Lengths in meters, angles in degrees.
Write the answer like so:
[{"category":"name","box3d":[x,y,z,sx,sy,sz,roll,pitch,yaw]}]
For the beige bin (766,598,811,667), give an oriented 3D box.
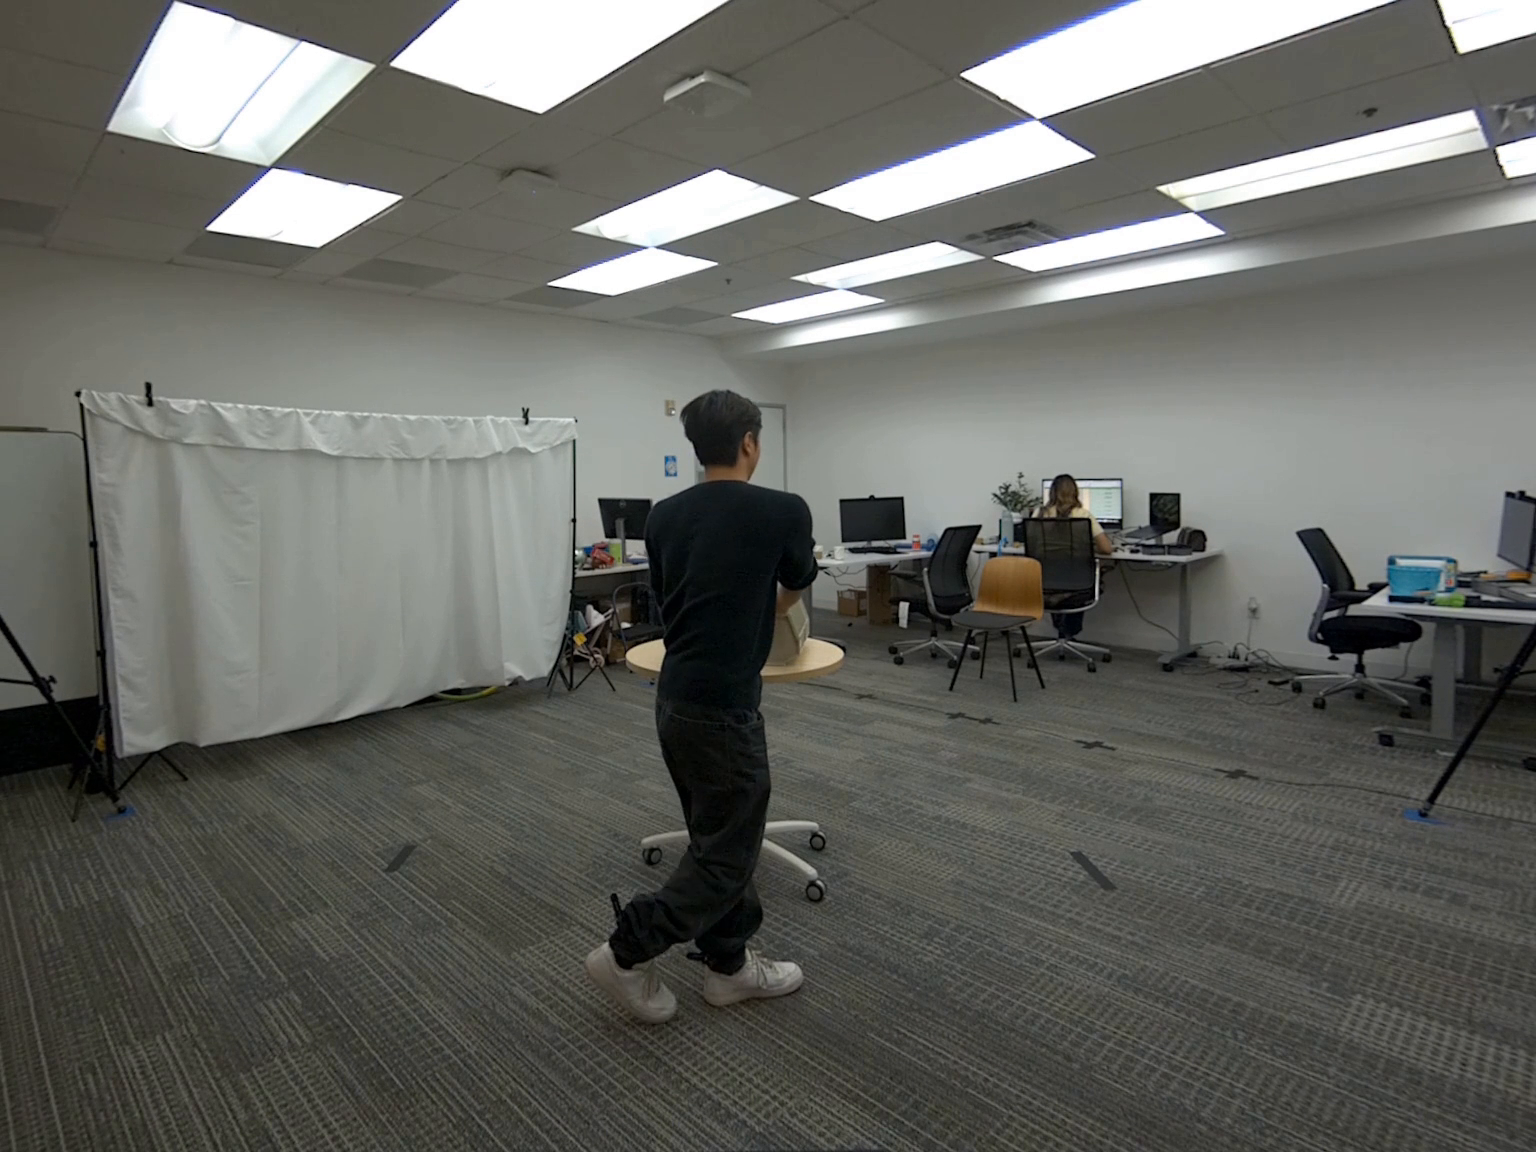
[{"category":"beige bin","box3d":[-0.053,0.184,3.002,0.380,0.188,0.421,0,6,7]}]
